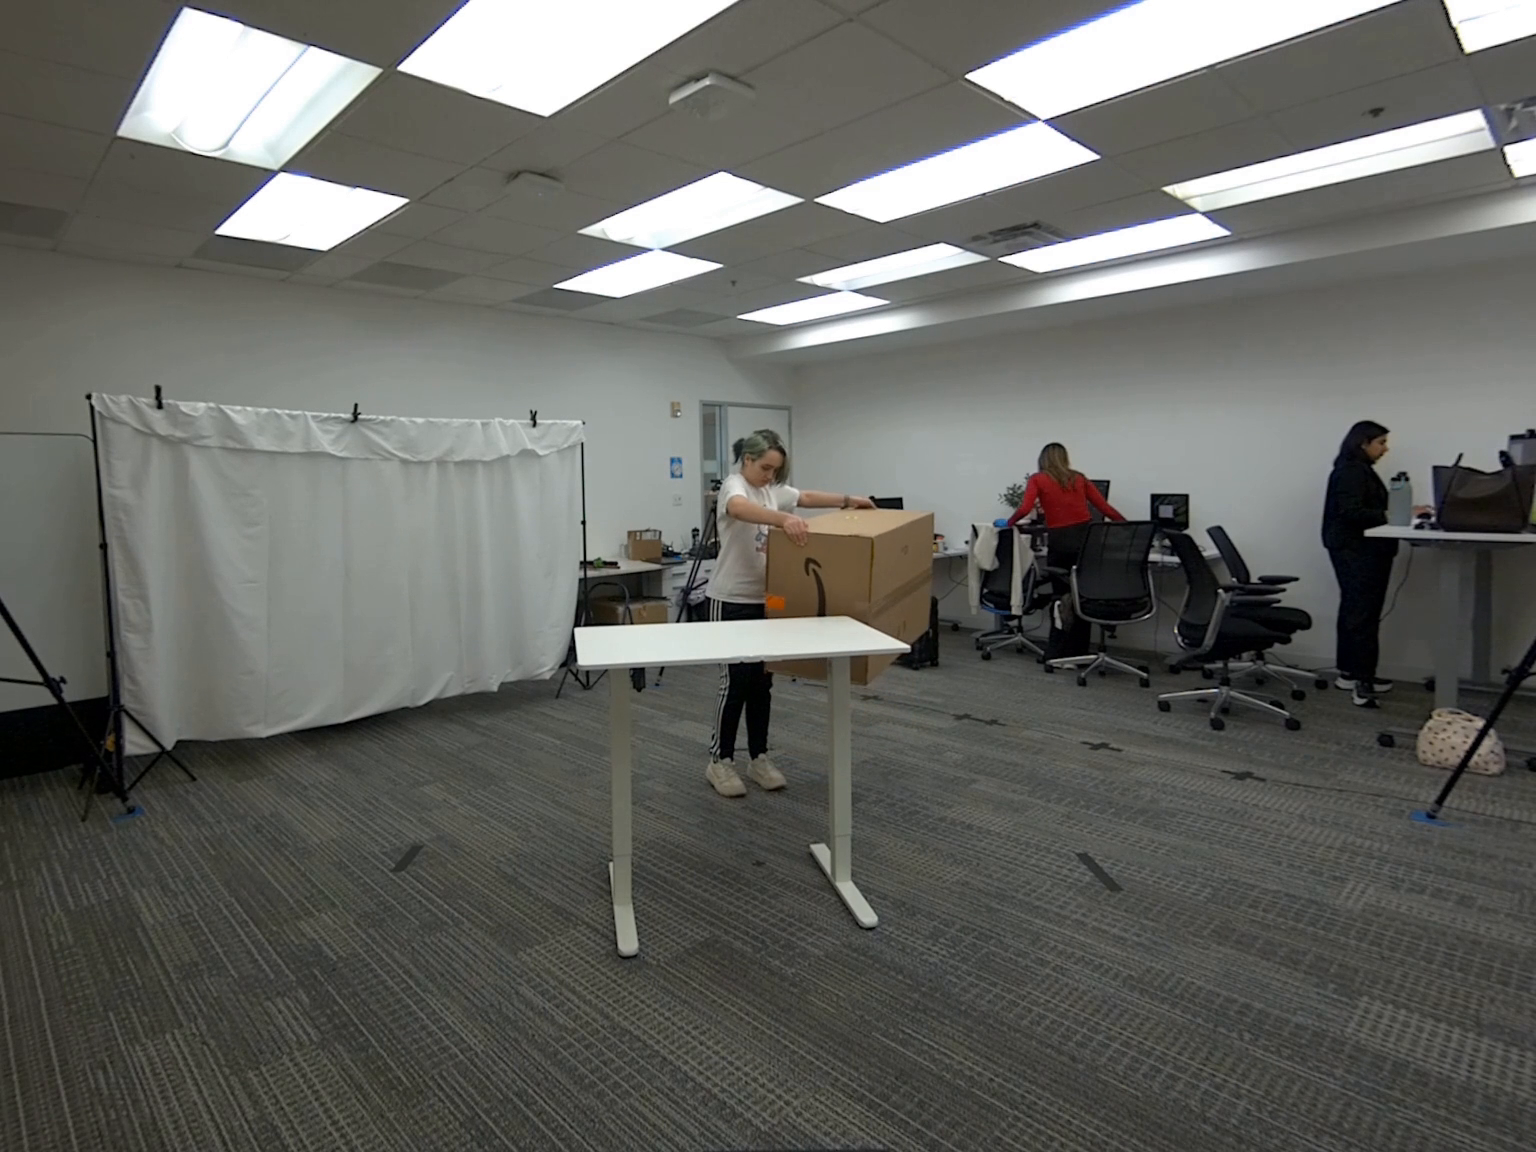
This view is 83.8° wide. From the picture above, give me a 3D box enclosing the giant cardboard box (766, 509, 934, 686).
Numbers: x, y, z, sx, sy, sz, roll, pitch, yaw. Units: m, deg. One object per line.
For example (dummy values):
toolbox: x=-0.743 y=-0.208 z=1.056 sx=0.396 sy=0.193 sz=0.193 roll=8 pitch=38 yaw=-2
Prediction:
giant cardboard box: x=0.385 y=0.041 z=3.745 sx=0.457 sy=0.580 sz=1.010 roll=4 pitch=10 yaw=24
